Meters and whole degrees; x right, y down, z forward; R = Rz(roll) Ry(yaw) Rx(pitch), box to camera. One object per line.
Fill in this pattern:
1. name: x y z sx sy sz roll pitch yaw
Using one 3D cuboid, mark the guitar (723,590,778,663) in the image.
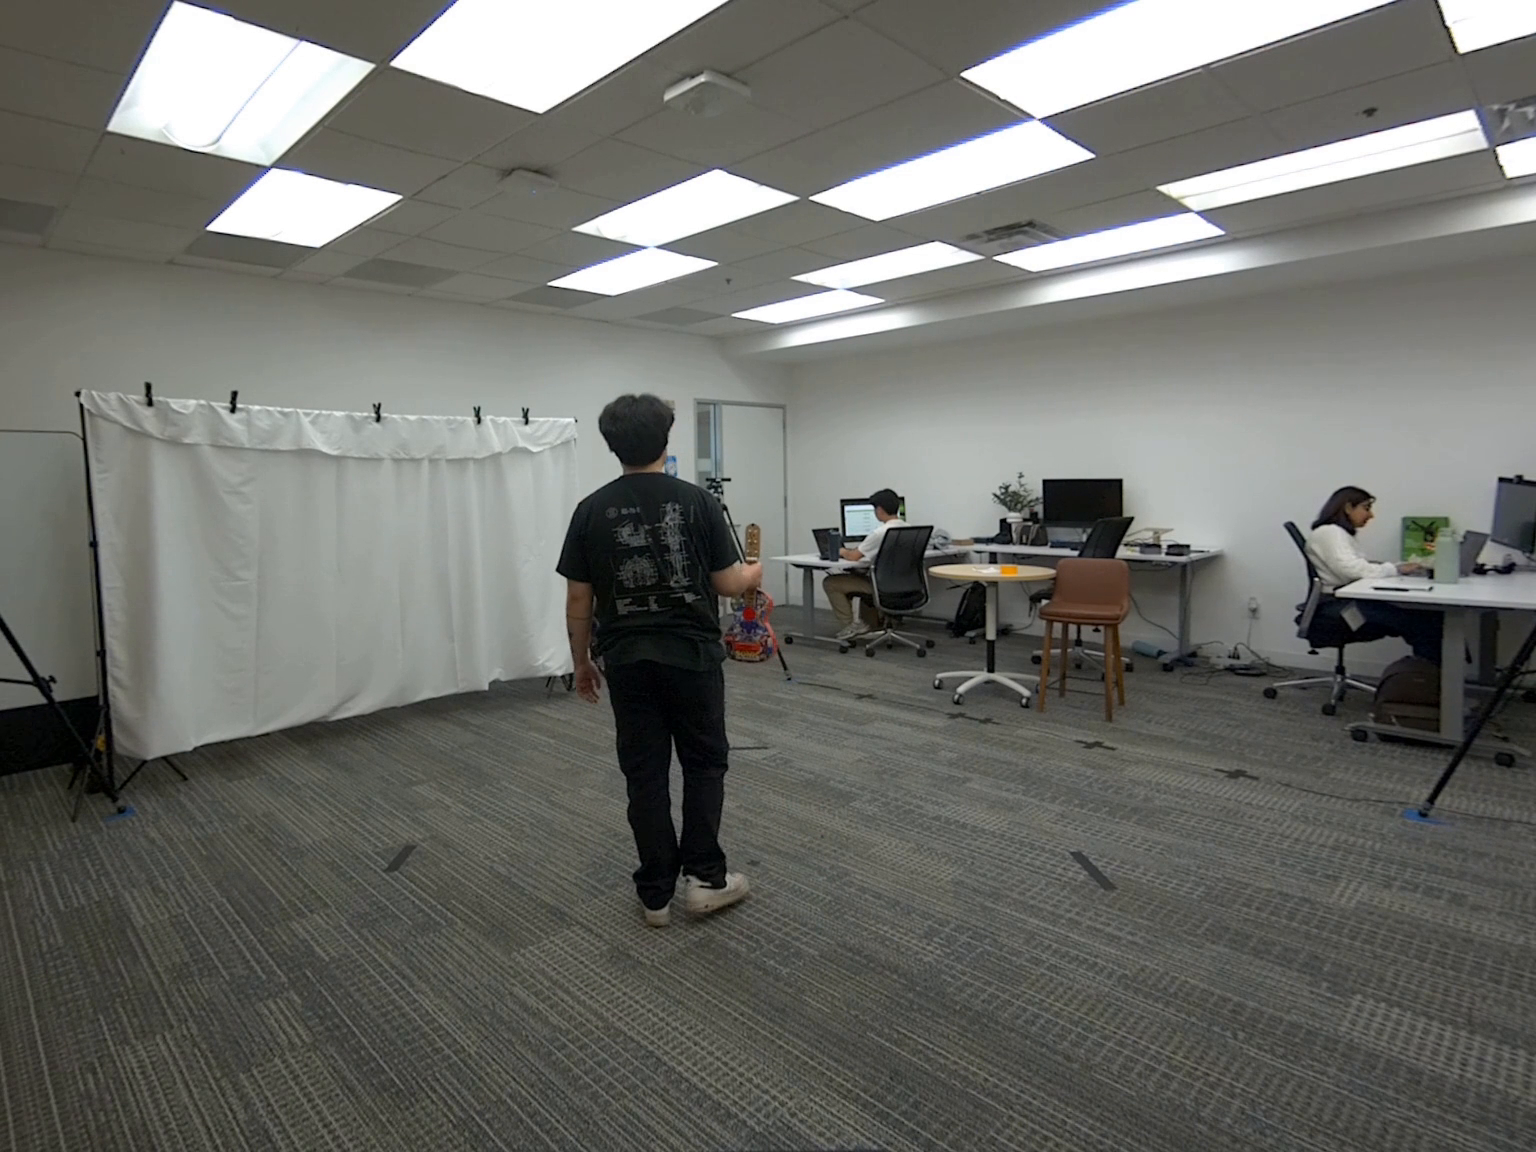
1. guitar: -0.037 0.072 3.091 0.196 0.499 0.069 9 -2 14
